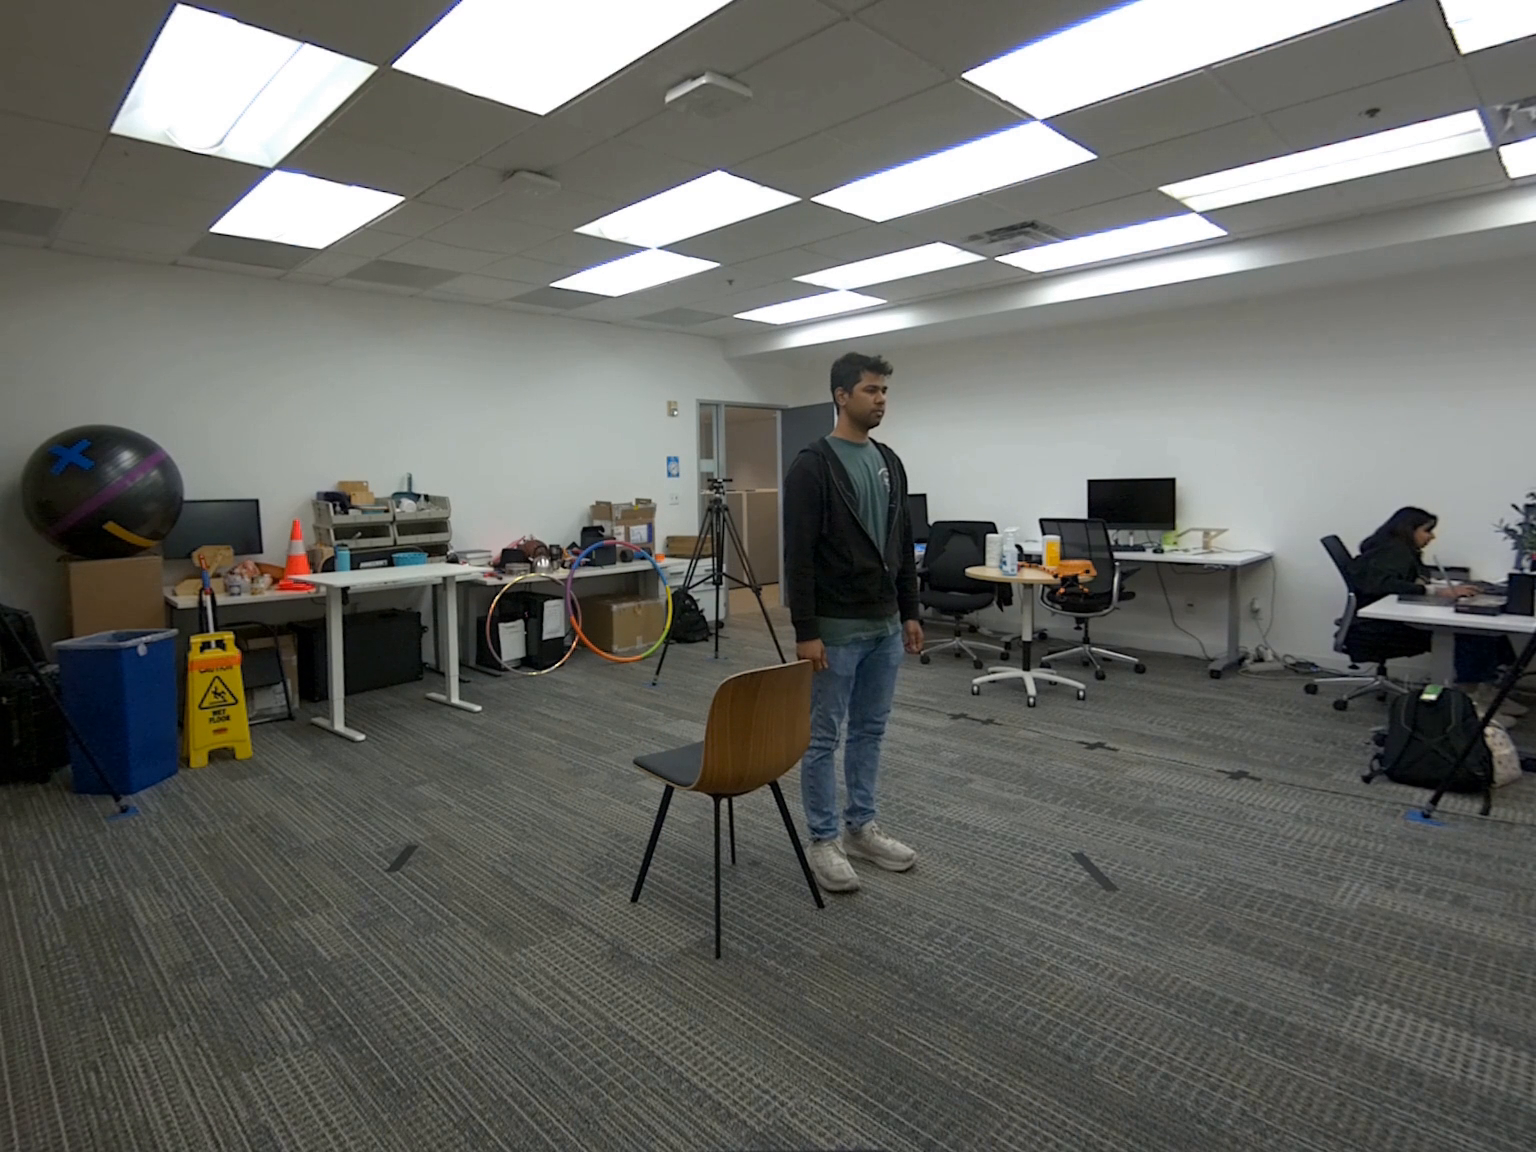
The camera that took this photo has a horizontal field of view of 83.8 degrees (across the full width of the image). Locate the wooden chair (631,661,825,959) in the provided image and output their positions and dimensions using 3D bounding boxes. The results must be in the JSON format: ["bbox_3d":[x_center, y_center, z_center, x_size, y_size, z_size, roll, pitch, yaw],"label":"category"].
[{"bbox_3d":[-0.145,0.658,2.776,0.465,0.871,0.541,-5,10,-41],"label":"wooden chair"}]
